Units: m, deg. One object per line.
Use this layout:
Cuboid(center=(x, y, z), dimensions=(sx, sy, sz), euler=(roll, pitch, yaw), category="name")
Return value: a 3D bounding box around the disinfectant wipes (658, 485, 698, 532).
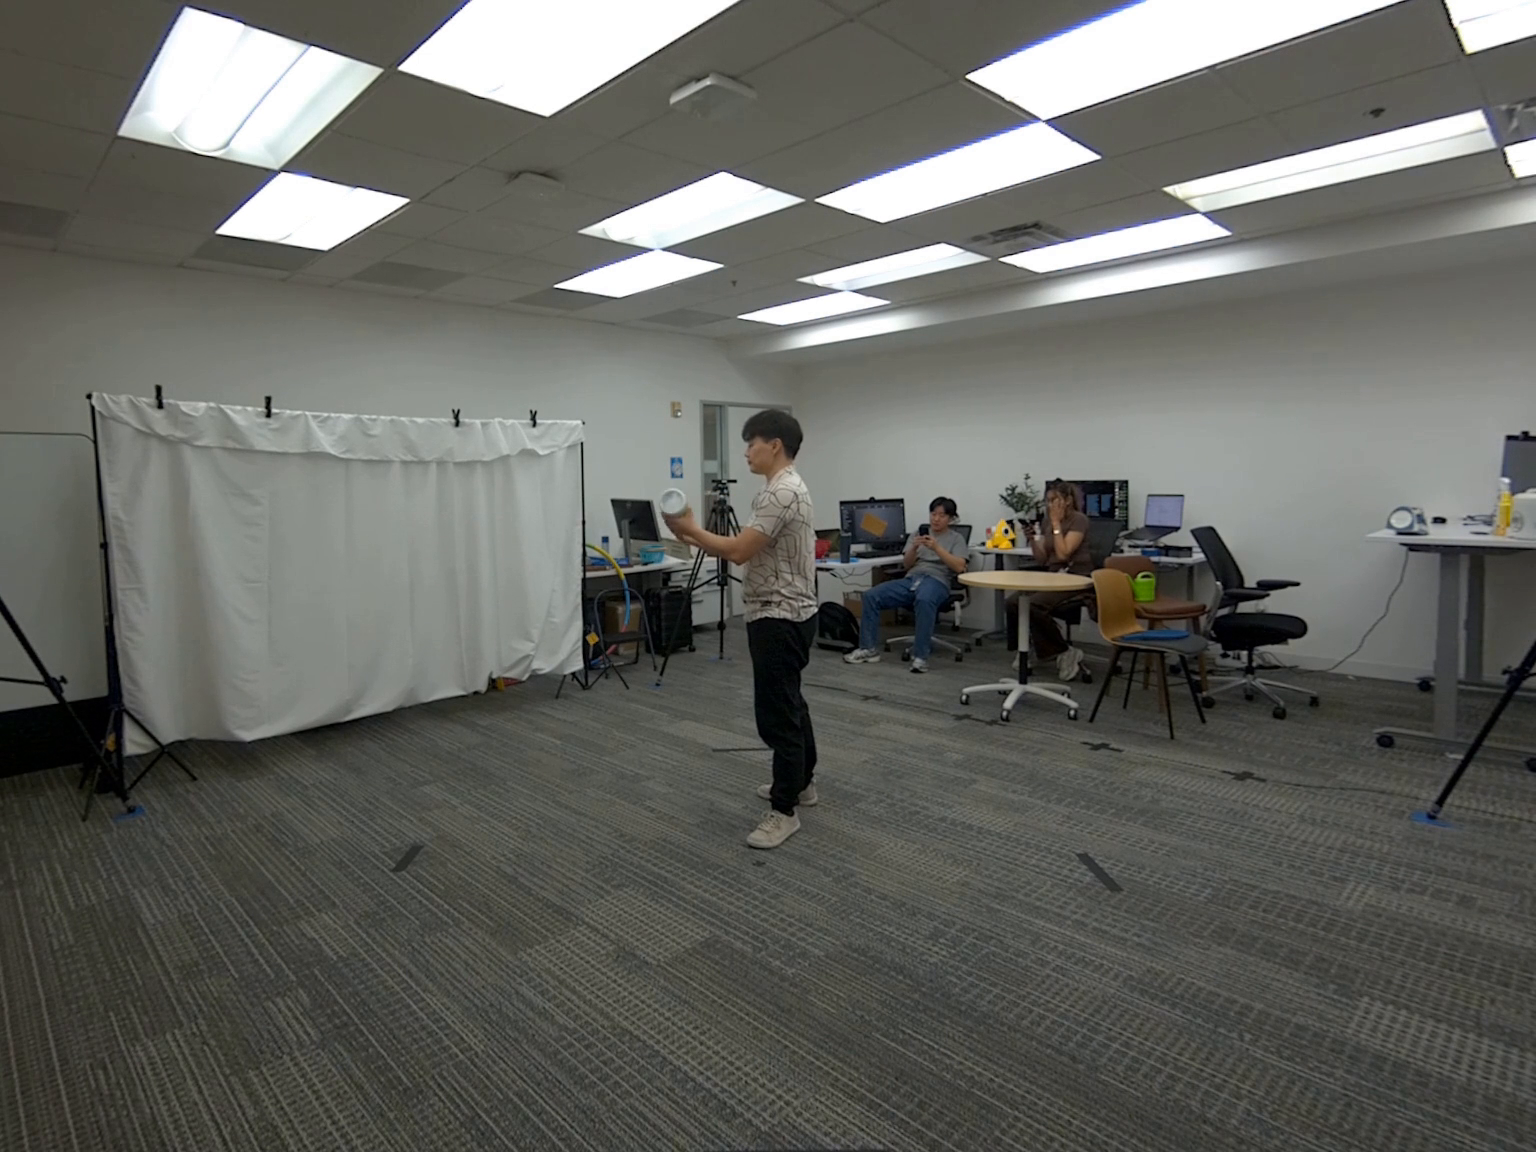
Cuboid(center=(-0.363, -0.272, 3.456), dimensions=(0.118, 0.119, 0.213), euler=(0, -15, 6), category="disinfectant wipes")
